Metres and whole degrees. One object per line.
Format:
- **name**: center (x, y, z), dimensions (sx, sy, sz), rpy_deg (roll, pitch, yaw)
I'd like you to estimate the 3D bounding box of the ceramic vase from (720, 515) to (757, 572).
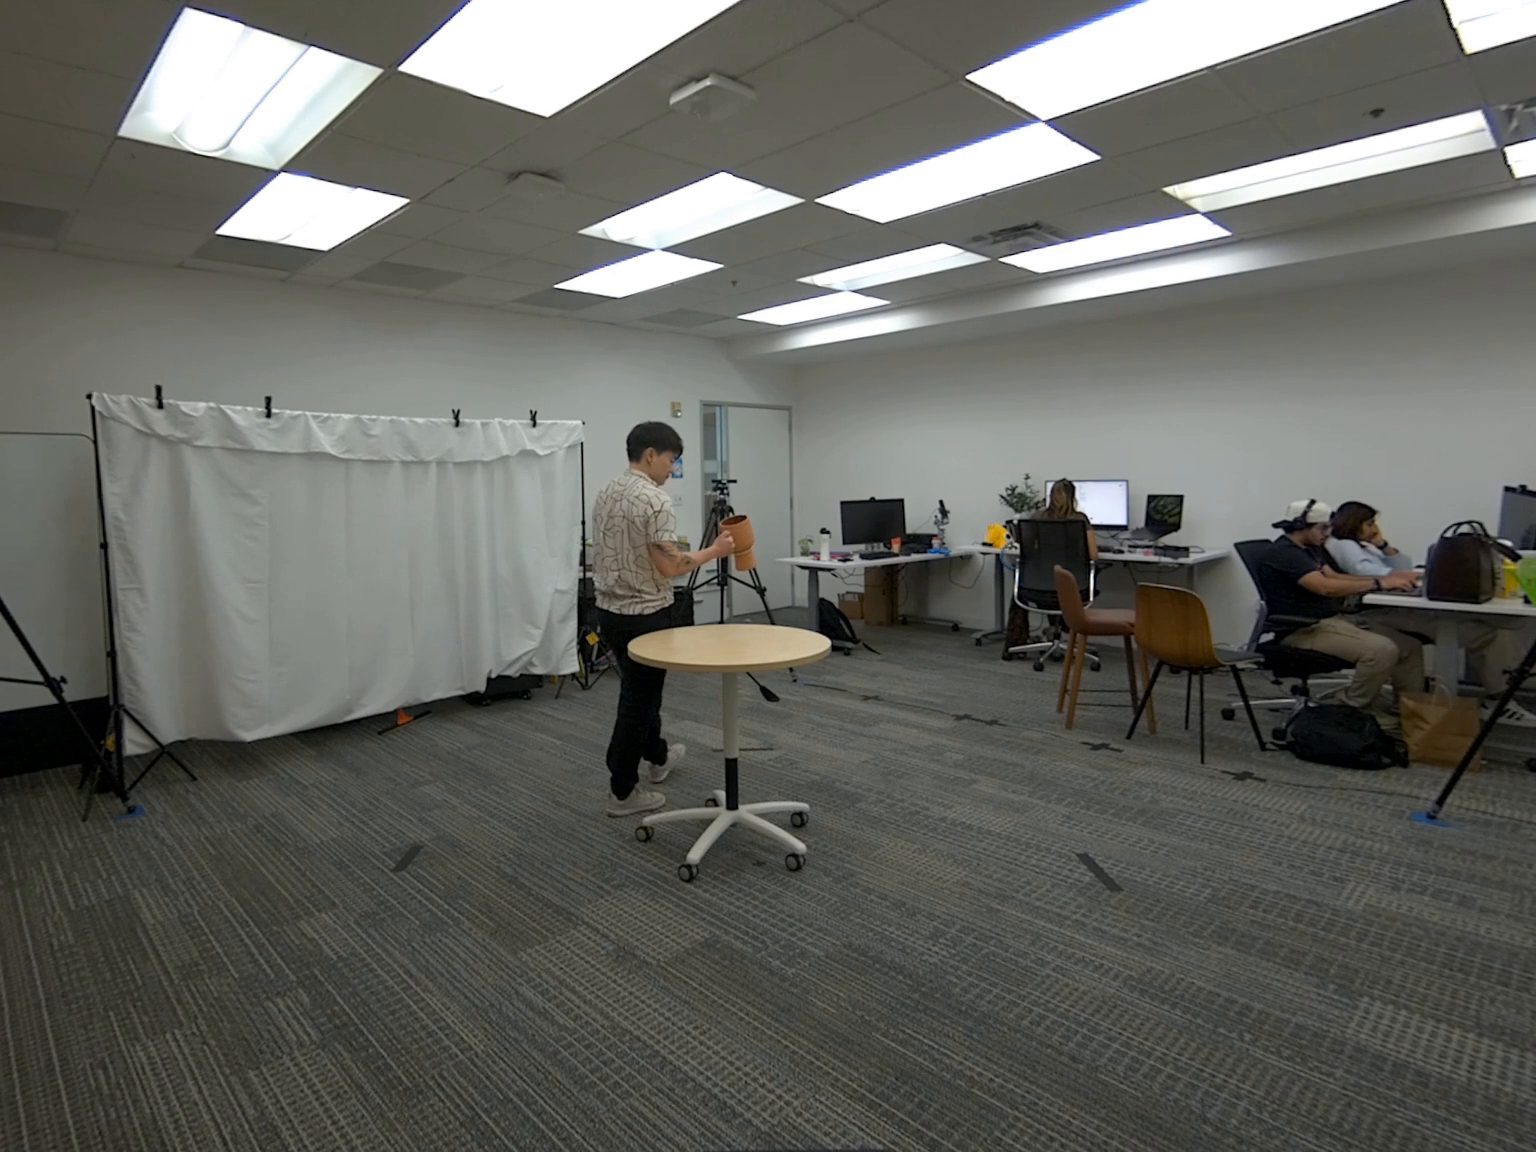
- **ceramic vase**: center (-0.123, -0.142, 3.692), dimensions (0.157, 0.216, 0.138), rpy_deg (-21, 17, -21)
